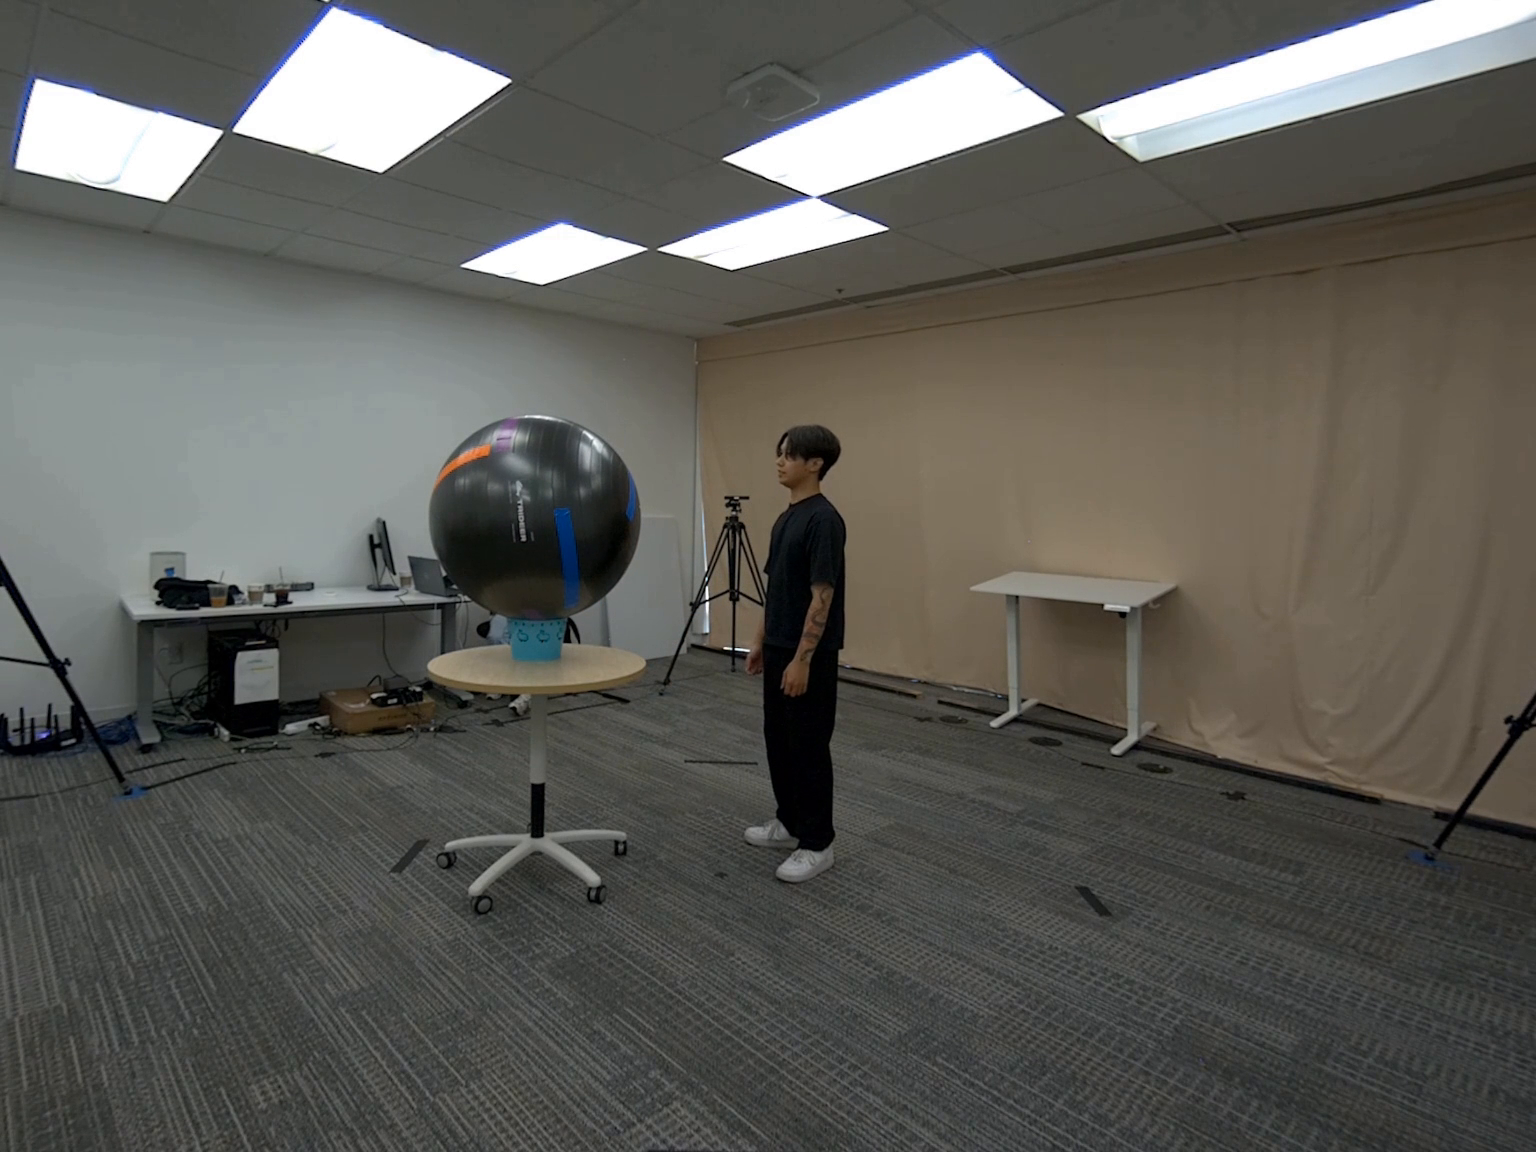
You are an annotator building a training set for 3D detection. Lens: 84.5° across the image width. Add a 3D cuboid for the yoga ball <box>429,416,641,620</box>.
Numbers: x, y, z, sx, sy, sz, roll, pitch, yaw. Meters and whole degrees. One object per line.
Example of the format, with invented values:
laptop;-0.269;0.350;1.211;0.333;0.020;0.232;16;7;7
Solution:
yoga ball;-0.858;-0.209;3.111;0.757;0.756;0.761;1;4;-1
